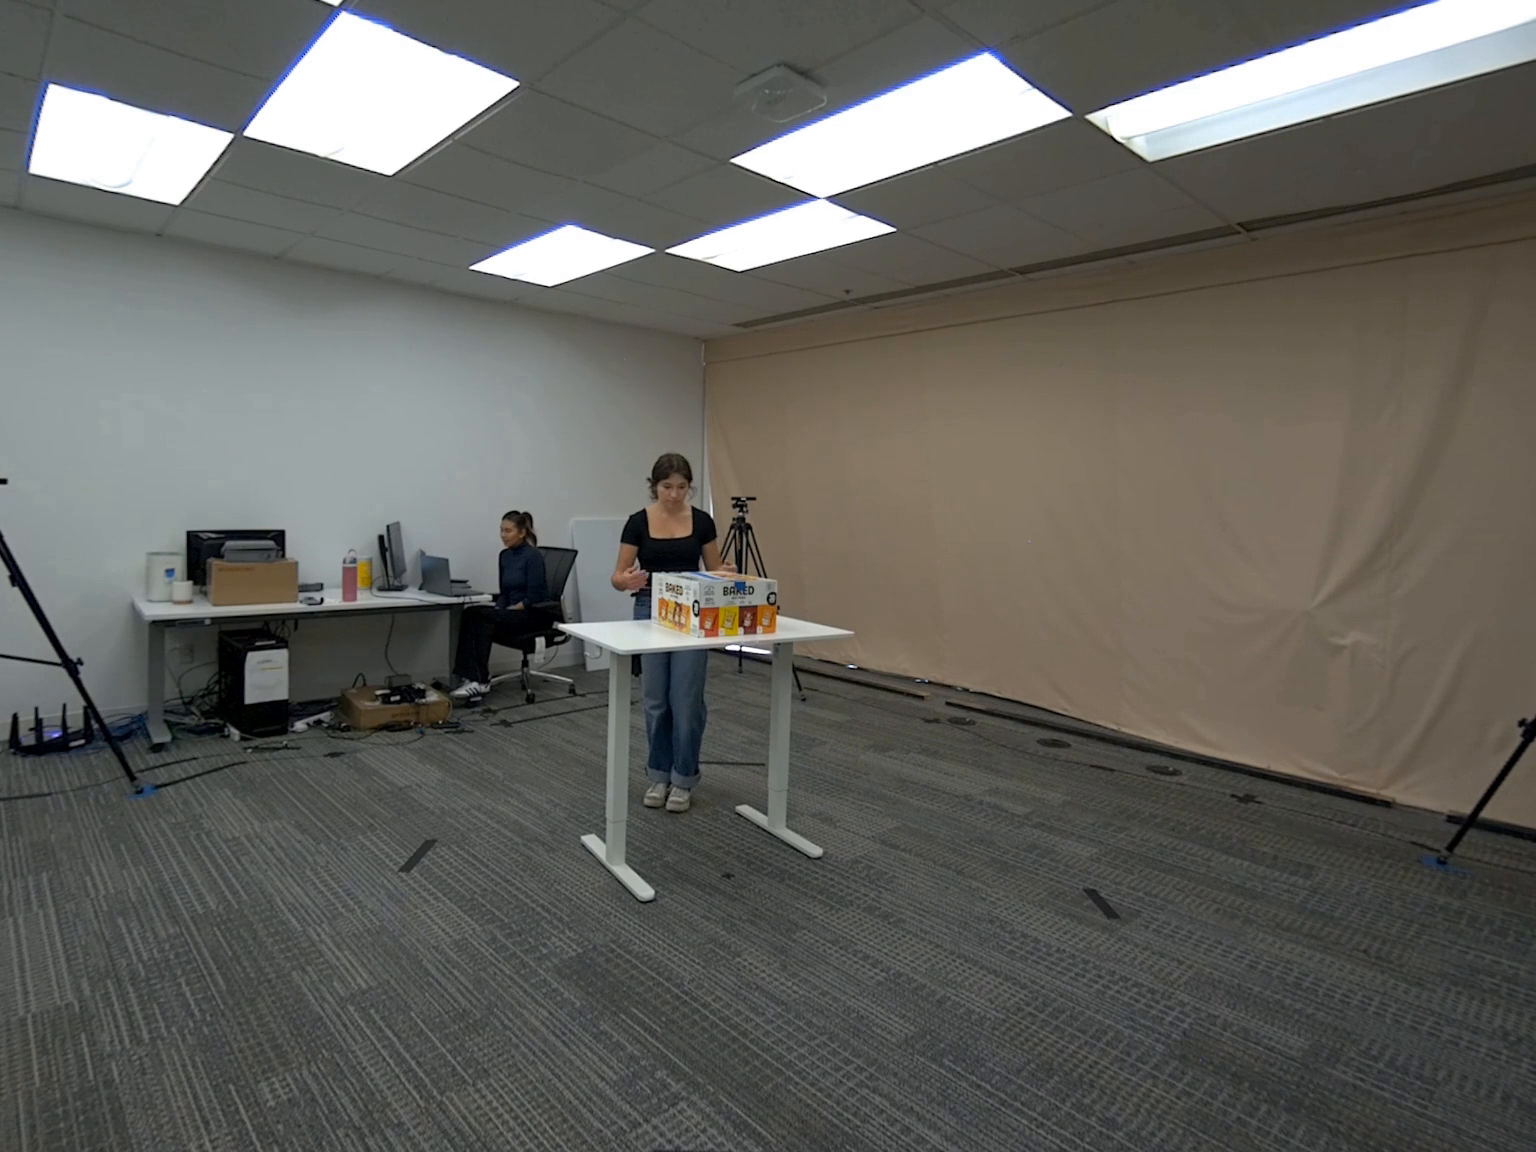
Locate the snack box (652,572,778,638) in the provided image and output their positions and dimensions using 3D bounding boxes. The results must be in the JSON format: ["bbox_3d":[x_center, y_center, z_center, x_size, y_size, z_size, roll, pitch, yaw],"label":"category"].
[{"bbox_3d":[-0.225,0.103,3.312,0.333,0.205,0.415,-1,5,-32],"label":"snack box"}]
